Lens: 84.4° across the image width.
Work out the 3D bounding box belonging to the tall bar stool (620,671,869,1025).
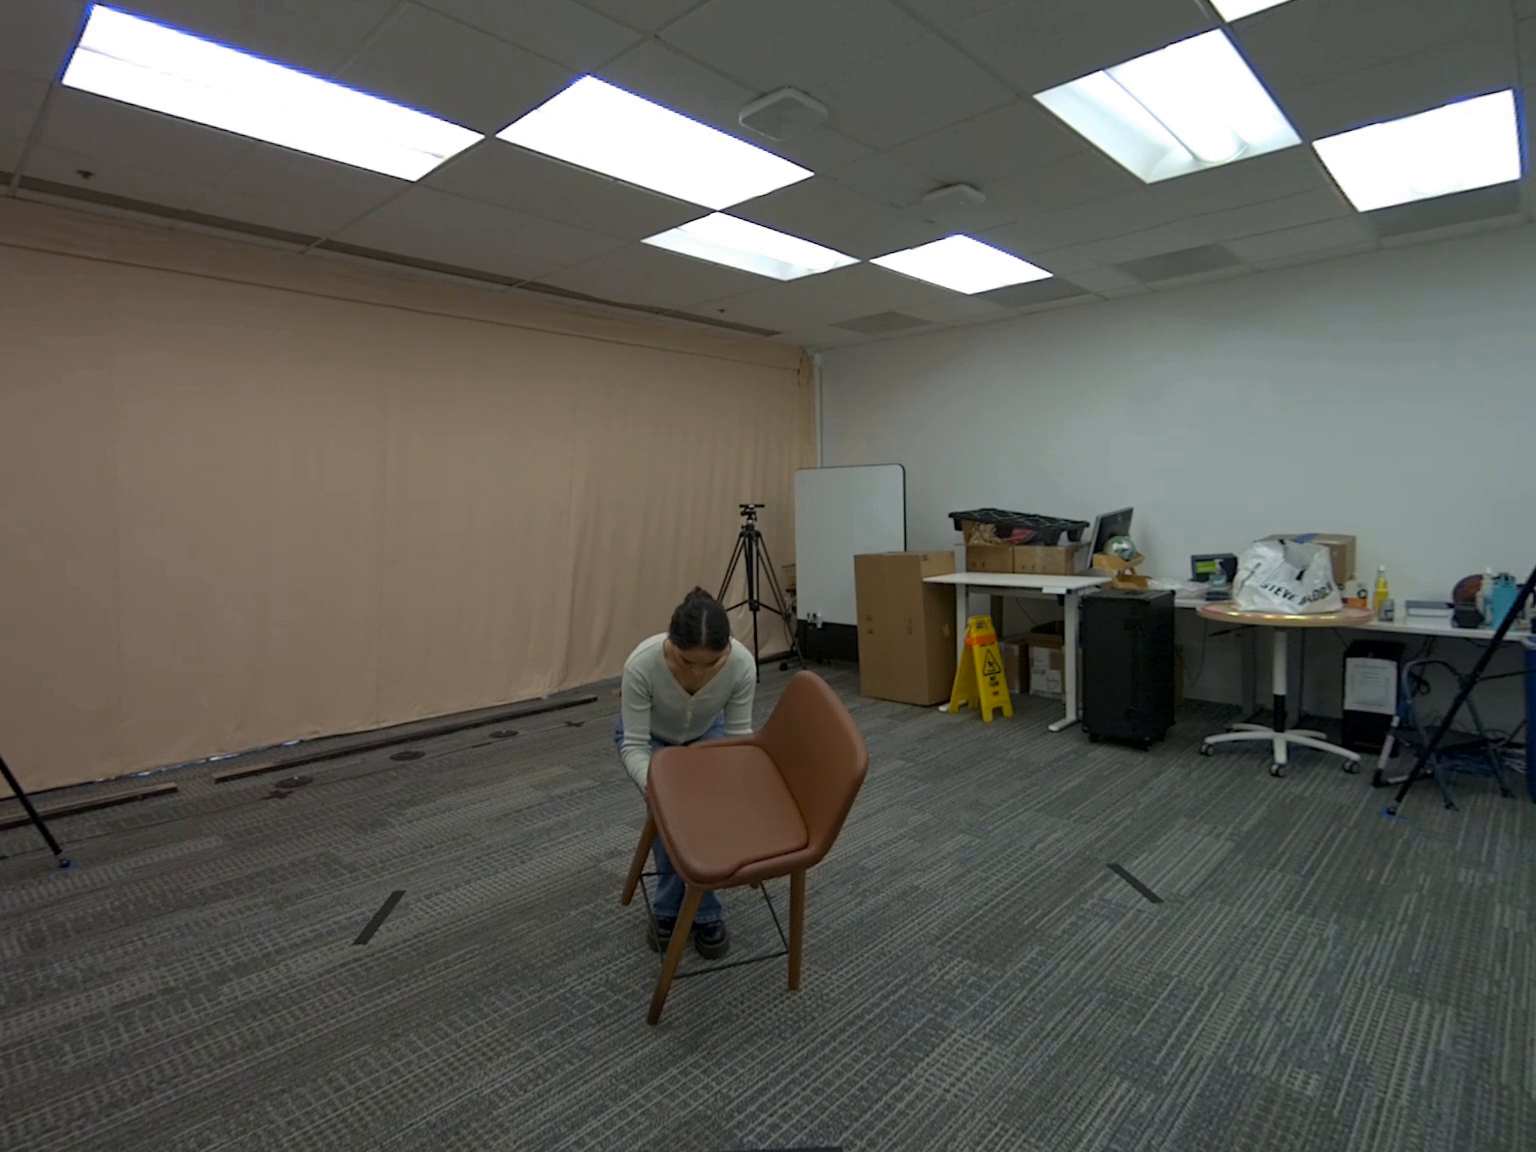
[{"bbox_3d":[-0.092,0.733,2.283,0.457,0.881,0.471,1,31,-23],"label":"tall bar stool"}]
